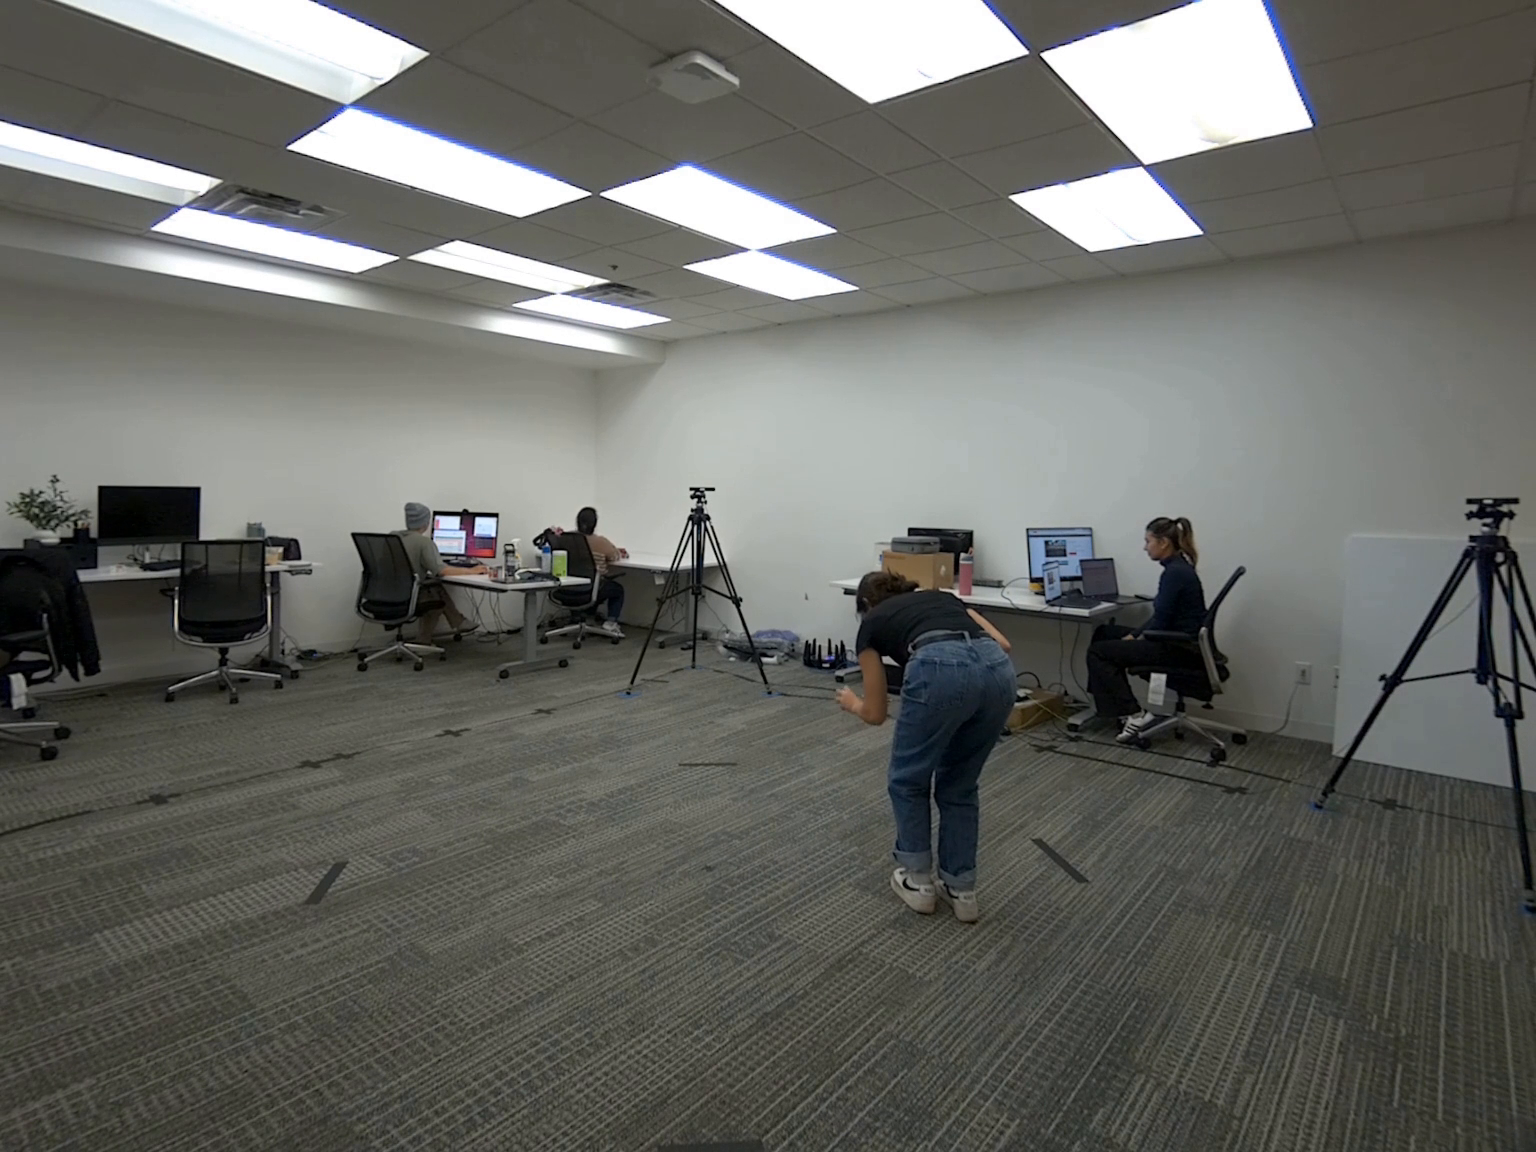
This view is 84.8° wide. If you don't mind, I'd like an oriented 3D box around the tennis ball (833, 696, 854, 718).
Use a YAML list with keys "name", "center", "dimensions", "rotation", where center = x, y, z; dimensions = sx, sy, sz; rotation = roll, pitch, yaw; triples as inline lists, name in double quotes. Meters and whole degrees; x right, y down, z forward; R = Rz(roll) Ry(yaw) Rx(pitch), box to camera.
- name: "tennis ball"
  center: [0.291, 0.508, 3.270]
  dimensions: [0.066, 0.066, 0.067]
  rotation: [1, 4, -2]
